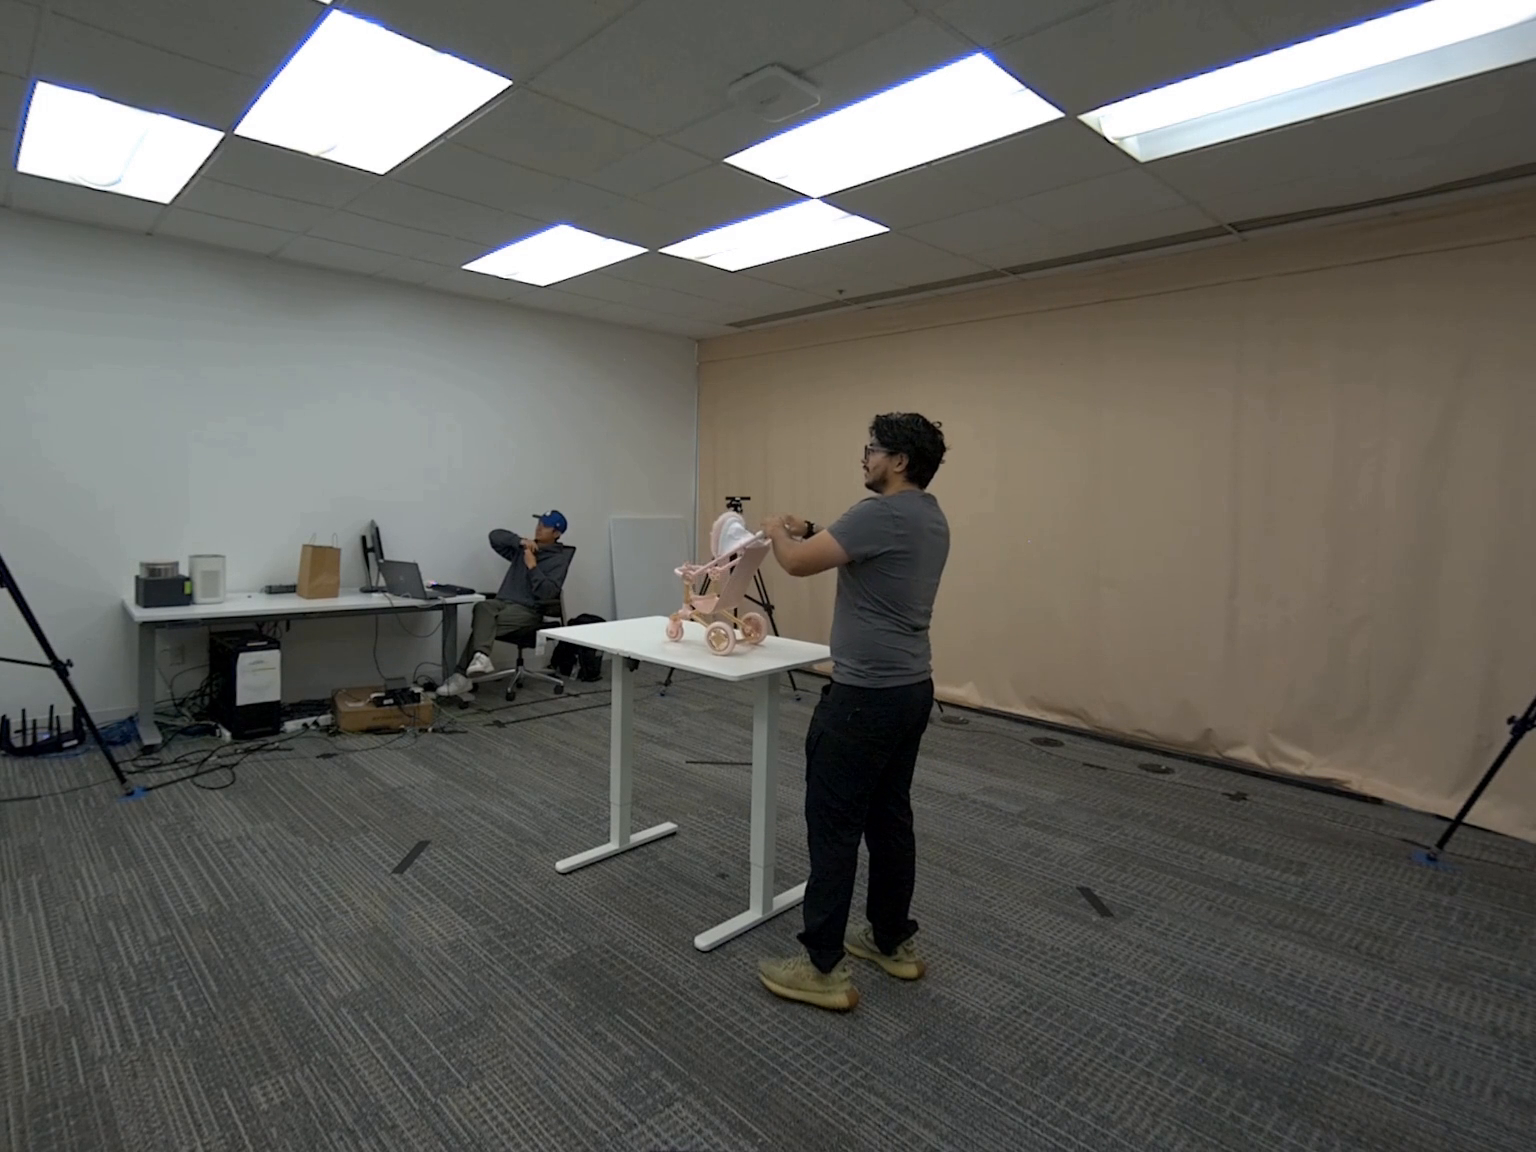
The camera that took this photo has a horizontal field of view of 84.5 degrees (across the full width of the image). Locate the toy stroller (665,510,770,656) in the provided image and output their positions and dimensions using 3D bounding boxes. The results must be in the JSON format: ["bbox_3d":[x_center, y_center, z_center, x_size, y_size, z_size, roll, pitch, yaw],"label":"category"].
[{"bbox_3d":[-0.162,0.024,2.858,0.350,0.532,0.276,21,13,29],"label":"toy stroller"}]
